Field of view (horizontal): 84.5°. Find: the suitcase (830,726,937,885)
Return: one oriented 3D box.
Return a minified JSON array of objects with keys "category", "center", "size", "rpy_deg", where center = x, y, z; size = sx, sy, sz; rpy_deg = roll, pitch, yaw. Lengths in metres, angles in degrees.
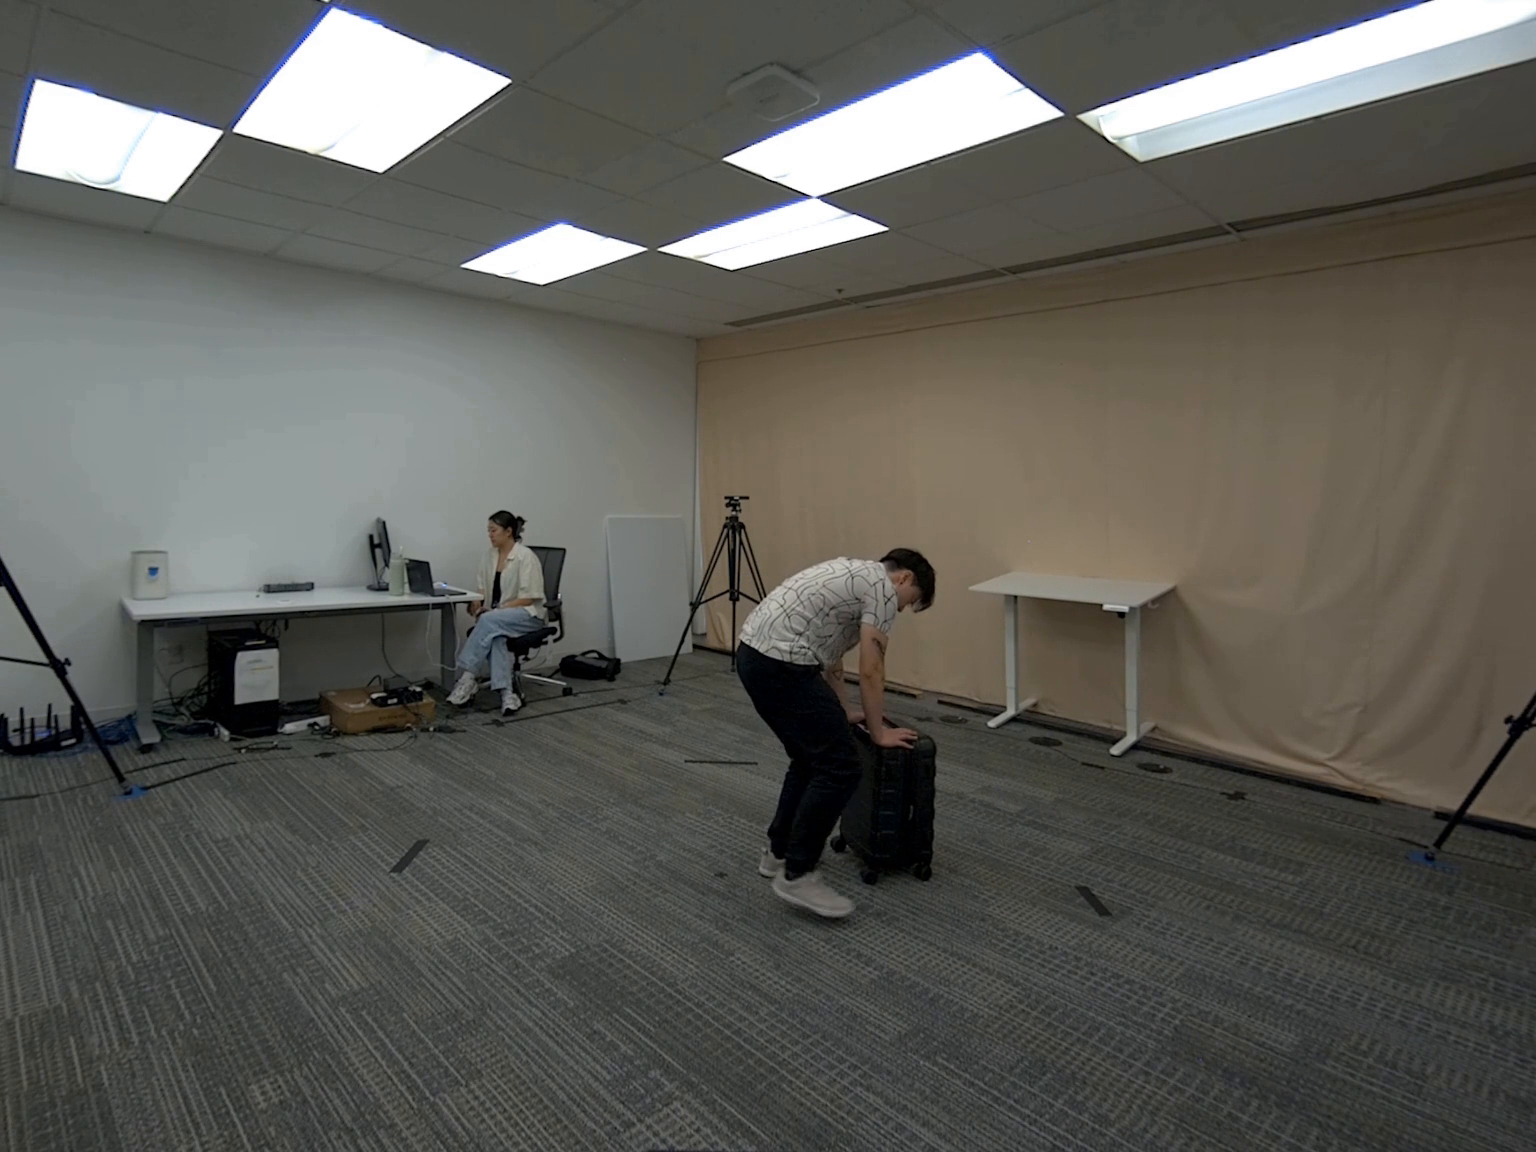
[{"category":"suitcase","center":[0.455,0.832,3.233],"size":[0.245,0.548,0.380],"rpy_deg":[2,2,-16]}]
